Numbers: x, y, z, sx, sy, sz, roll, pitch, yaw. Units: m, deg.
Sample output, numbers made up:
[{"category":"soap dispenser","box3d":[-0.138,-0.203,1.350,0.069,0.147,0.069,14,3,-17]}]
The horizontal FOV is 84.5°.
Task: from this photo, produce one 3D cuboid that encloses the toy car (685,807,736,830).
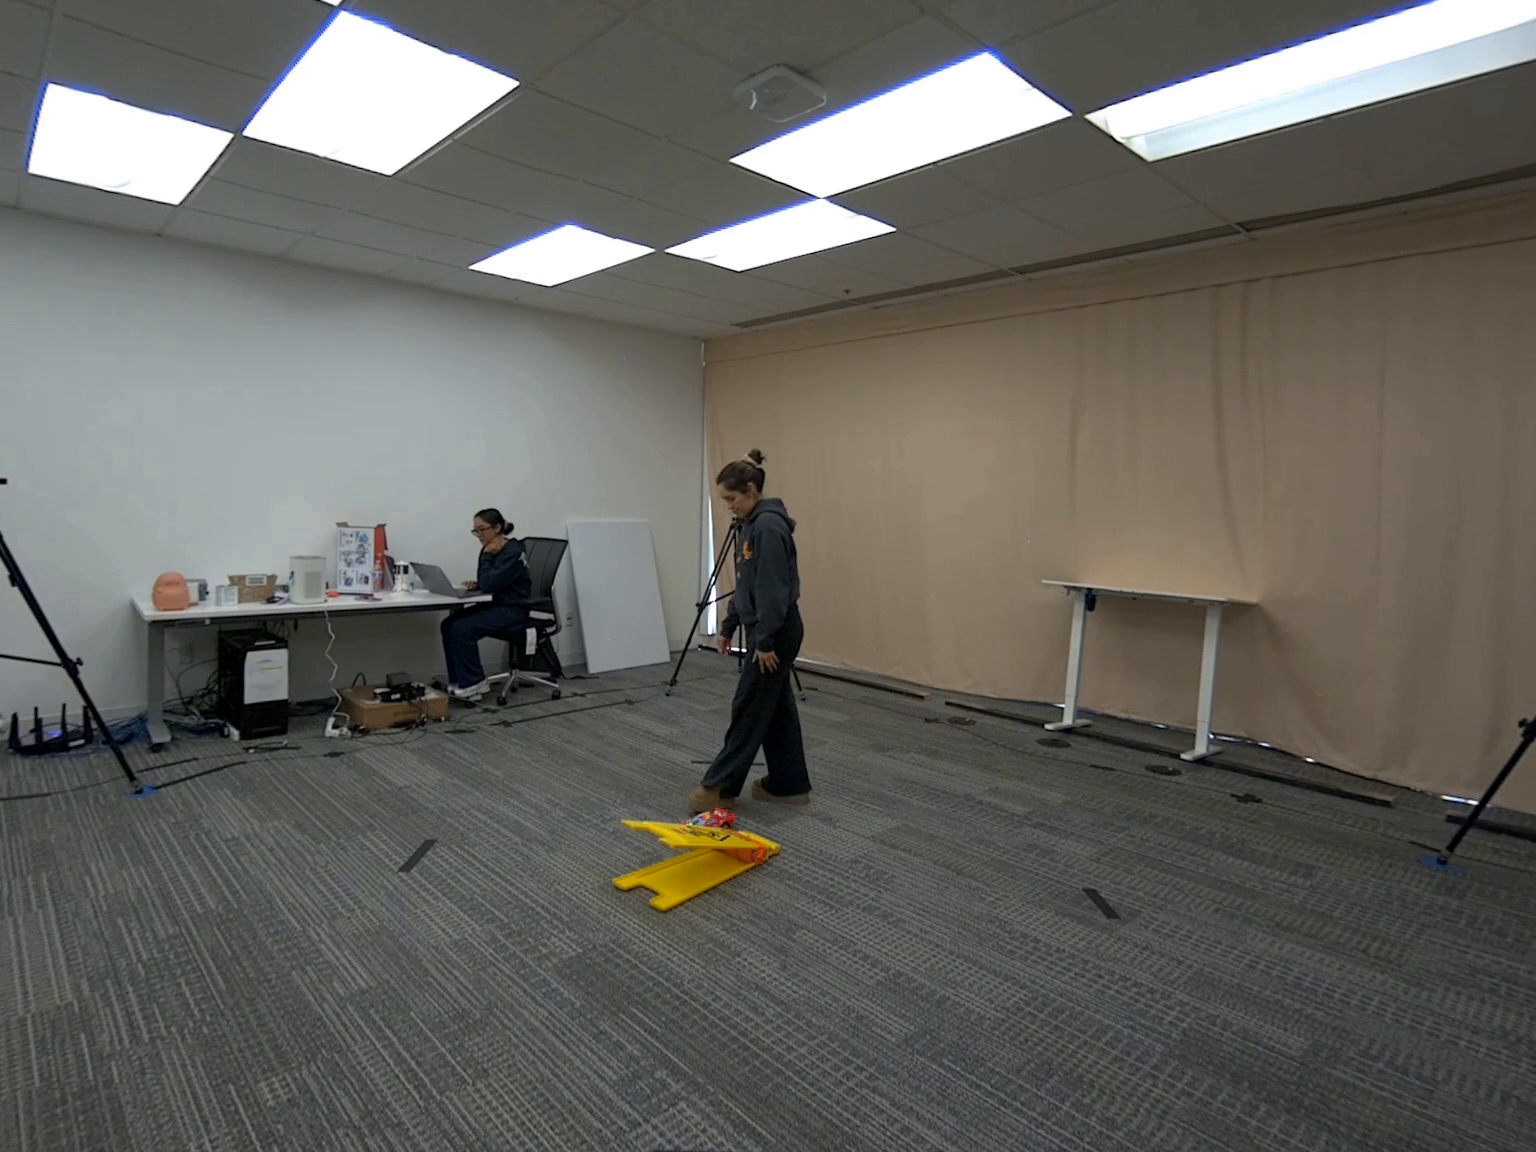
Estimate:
[{"category":"toy car","box3d":[-0.263,1.036,3.520,0.250,0.082,0.133,-16,14,-38]}]
